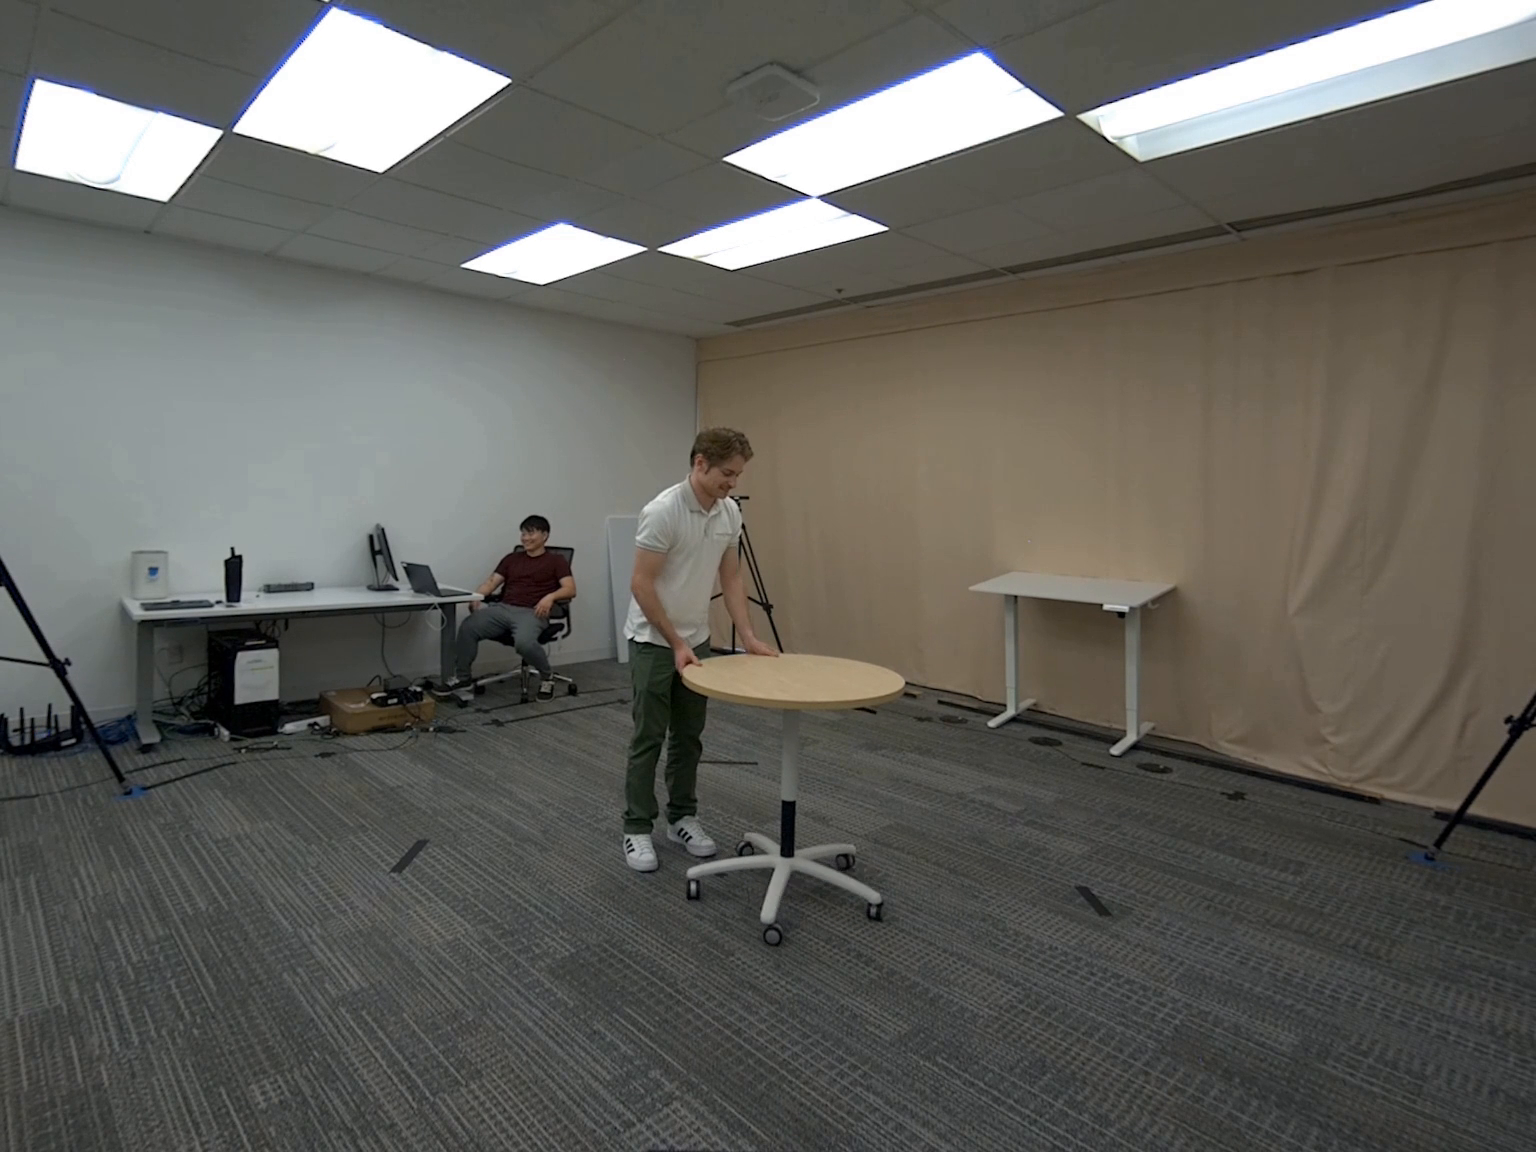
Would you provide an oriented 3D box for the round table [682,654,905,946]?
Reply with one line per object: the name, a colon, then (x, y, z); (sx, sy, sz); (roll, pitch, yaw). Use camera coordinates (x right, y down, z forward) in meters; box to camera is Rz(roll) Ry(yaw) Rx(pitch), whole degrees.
round table: (0.065, 0.734, 2.933); (0.763, 0.792, 0.767); (2, 4, -1)
